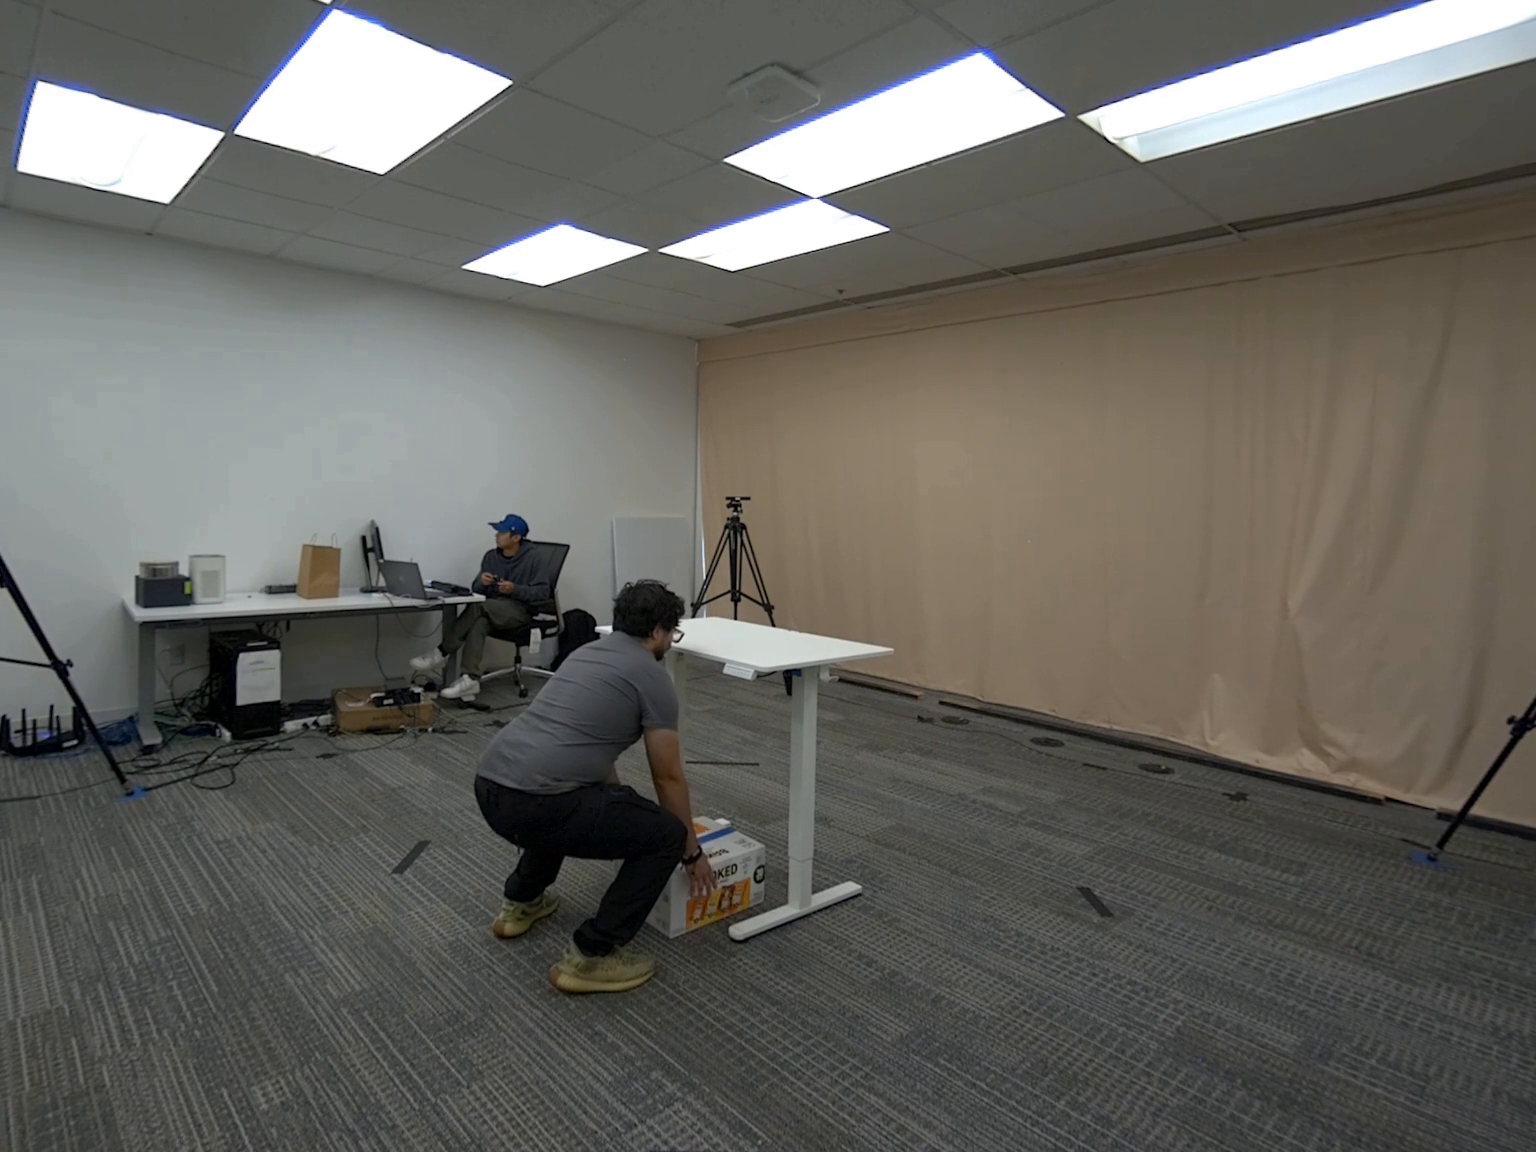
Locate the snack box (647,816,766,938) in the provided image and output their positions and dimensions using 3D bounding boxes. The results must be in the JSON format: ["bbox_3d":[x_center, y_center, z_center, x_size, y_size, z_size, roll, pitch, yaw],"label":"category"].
[{"bbox_3d":[-0.276,1.023,2.891,0.396,0.205,0.349,-3,6,-42],"label":"snack box"}]
